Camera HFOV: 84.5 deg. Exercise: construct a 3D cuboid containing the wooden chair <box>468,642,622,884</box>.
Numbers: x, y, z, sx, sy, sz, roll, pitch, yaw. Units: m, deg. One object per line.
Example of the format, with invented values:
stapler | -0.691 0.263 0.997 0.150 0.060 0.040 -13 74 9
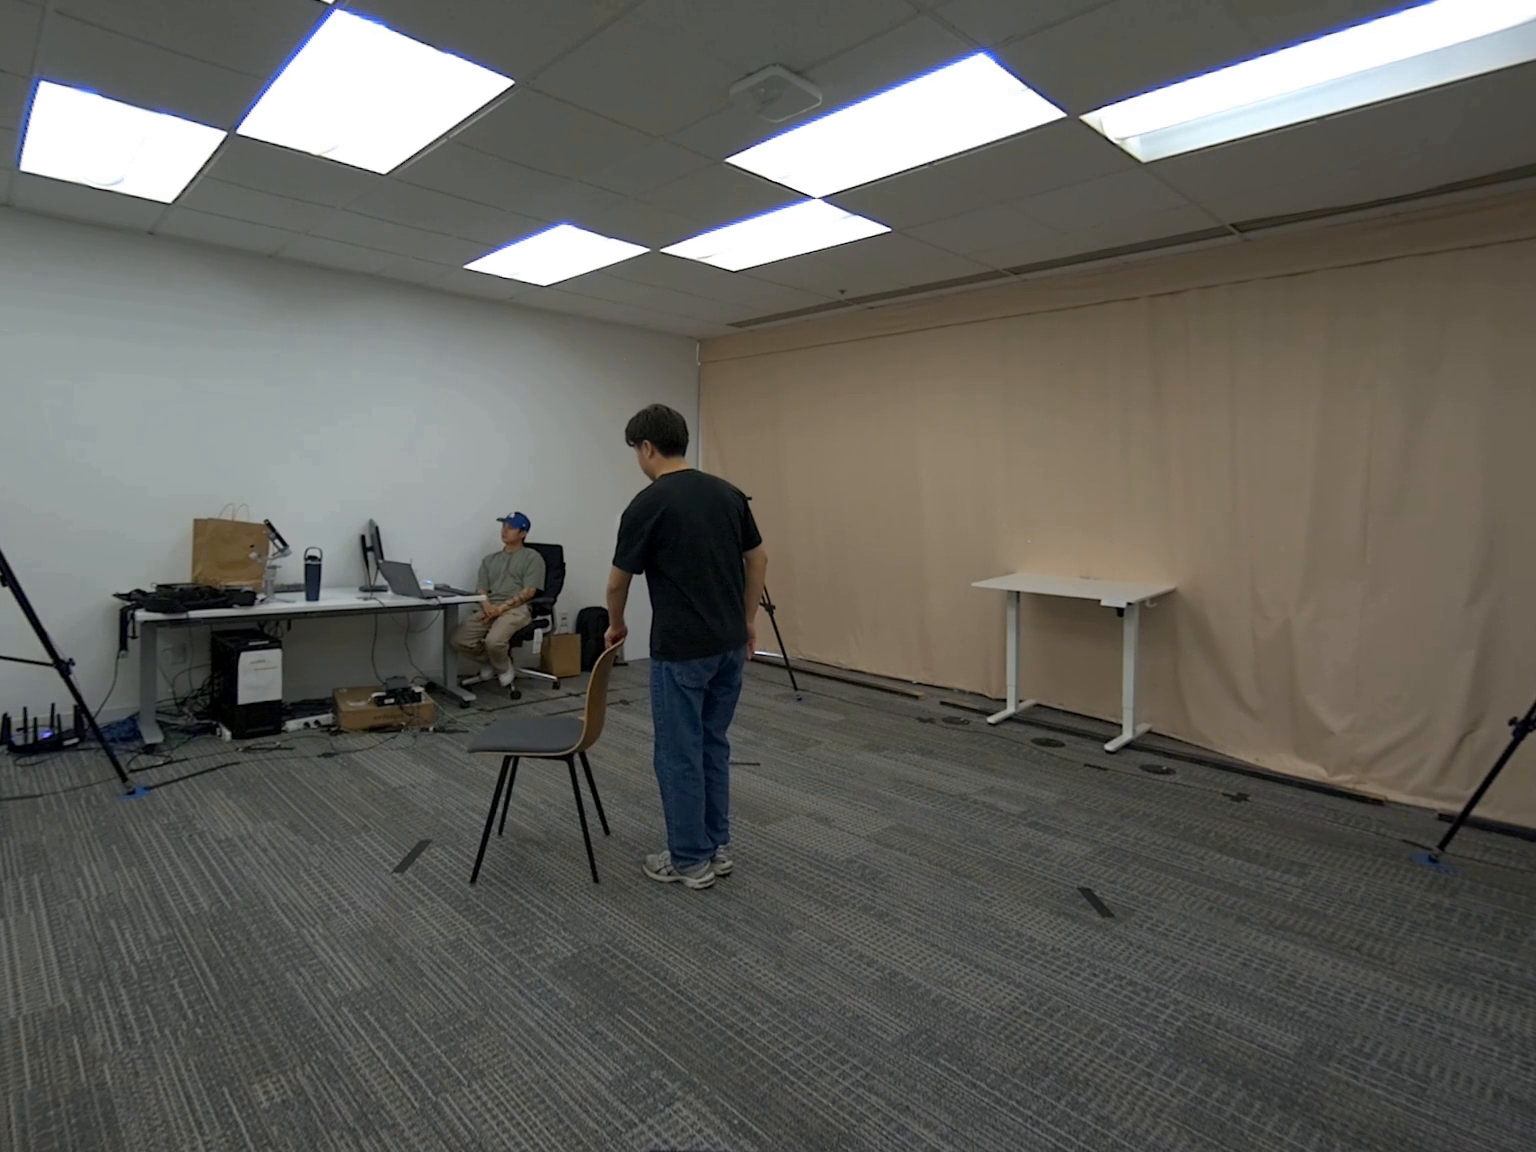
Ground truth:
wooden chair | -0.848 0.649 3.182 0.521 0.875 0.481 5 4 -4
